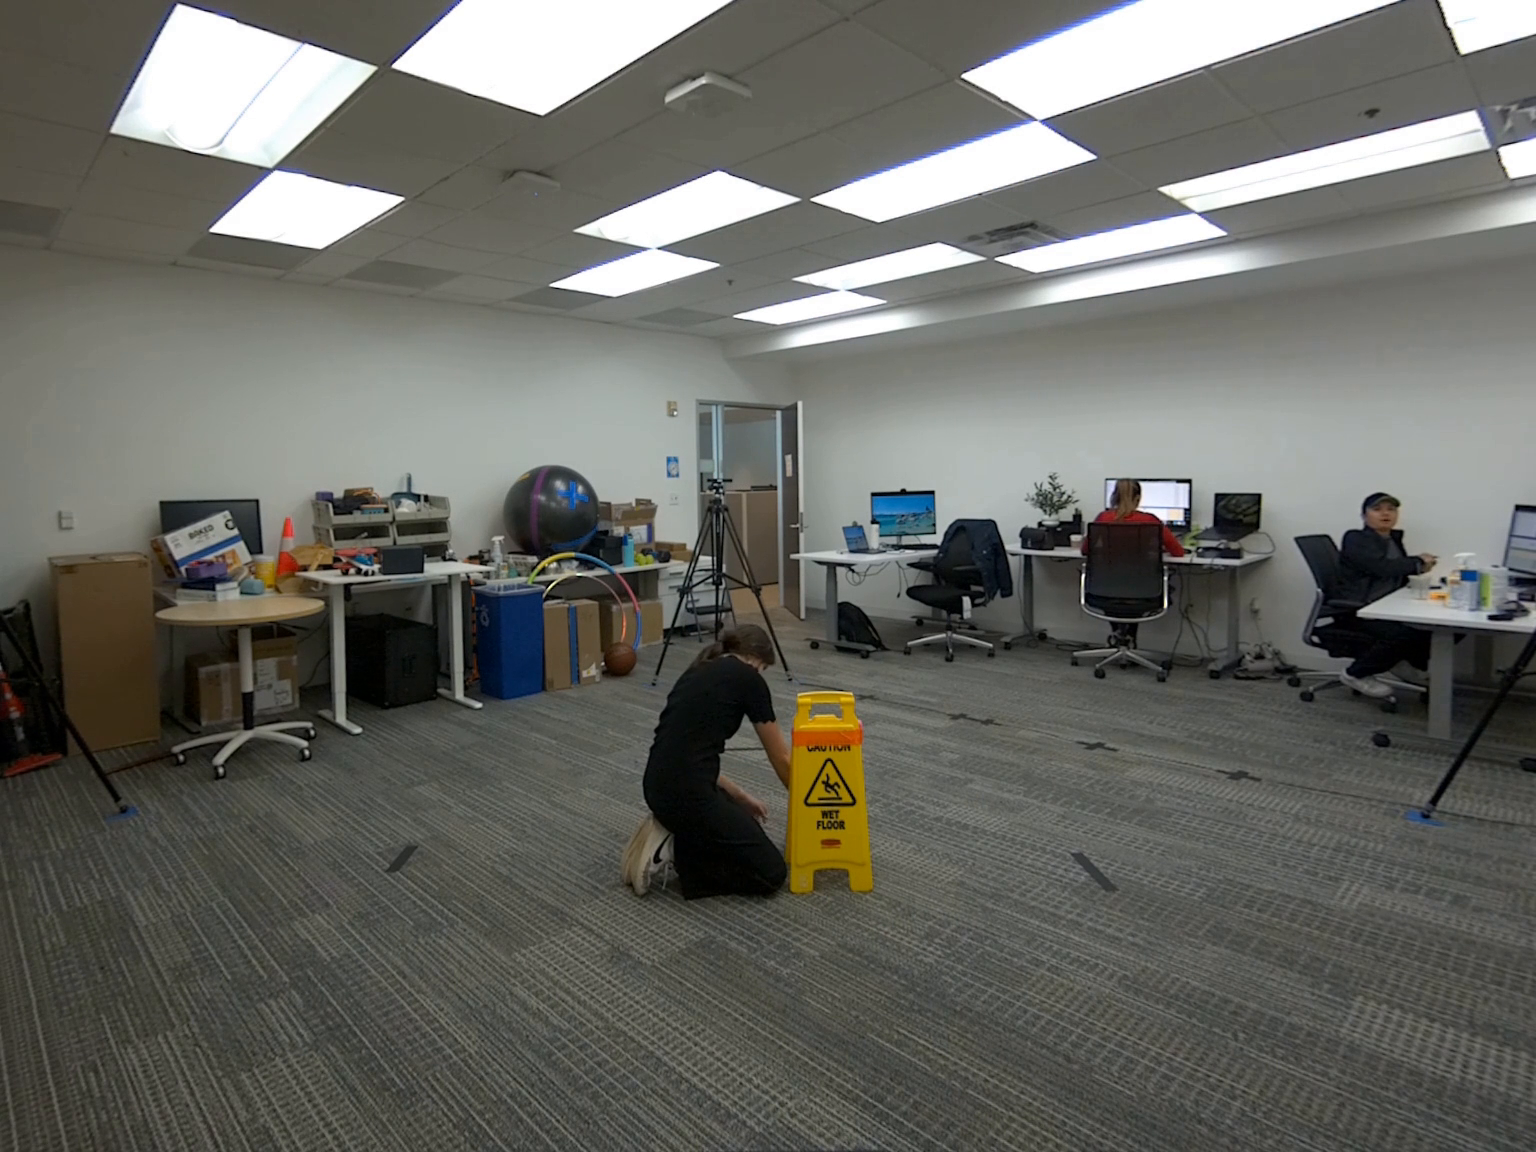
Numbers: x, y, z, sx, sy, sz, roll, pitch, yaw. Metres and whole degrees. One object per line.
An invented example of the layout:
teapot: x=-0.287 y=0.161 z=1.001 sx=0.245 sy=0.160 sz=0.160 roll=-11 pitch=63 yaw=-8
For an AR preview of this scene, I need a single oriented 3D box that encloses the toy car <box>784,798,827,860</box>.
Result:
toy car: x=0.136 y=0.939 z=3.181 sx=0.131 sy=0.248 sz=0.085 roll=6 pitch=42 yaw=3
